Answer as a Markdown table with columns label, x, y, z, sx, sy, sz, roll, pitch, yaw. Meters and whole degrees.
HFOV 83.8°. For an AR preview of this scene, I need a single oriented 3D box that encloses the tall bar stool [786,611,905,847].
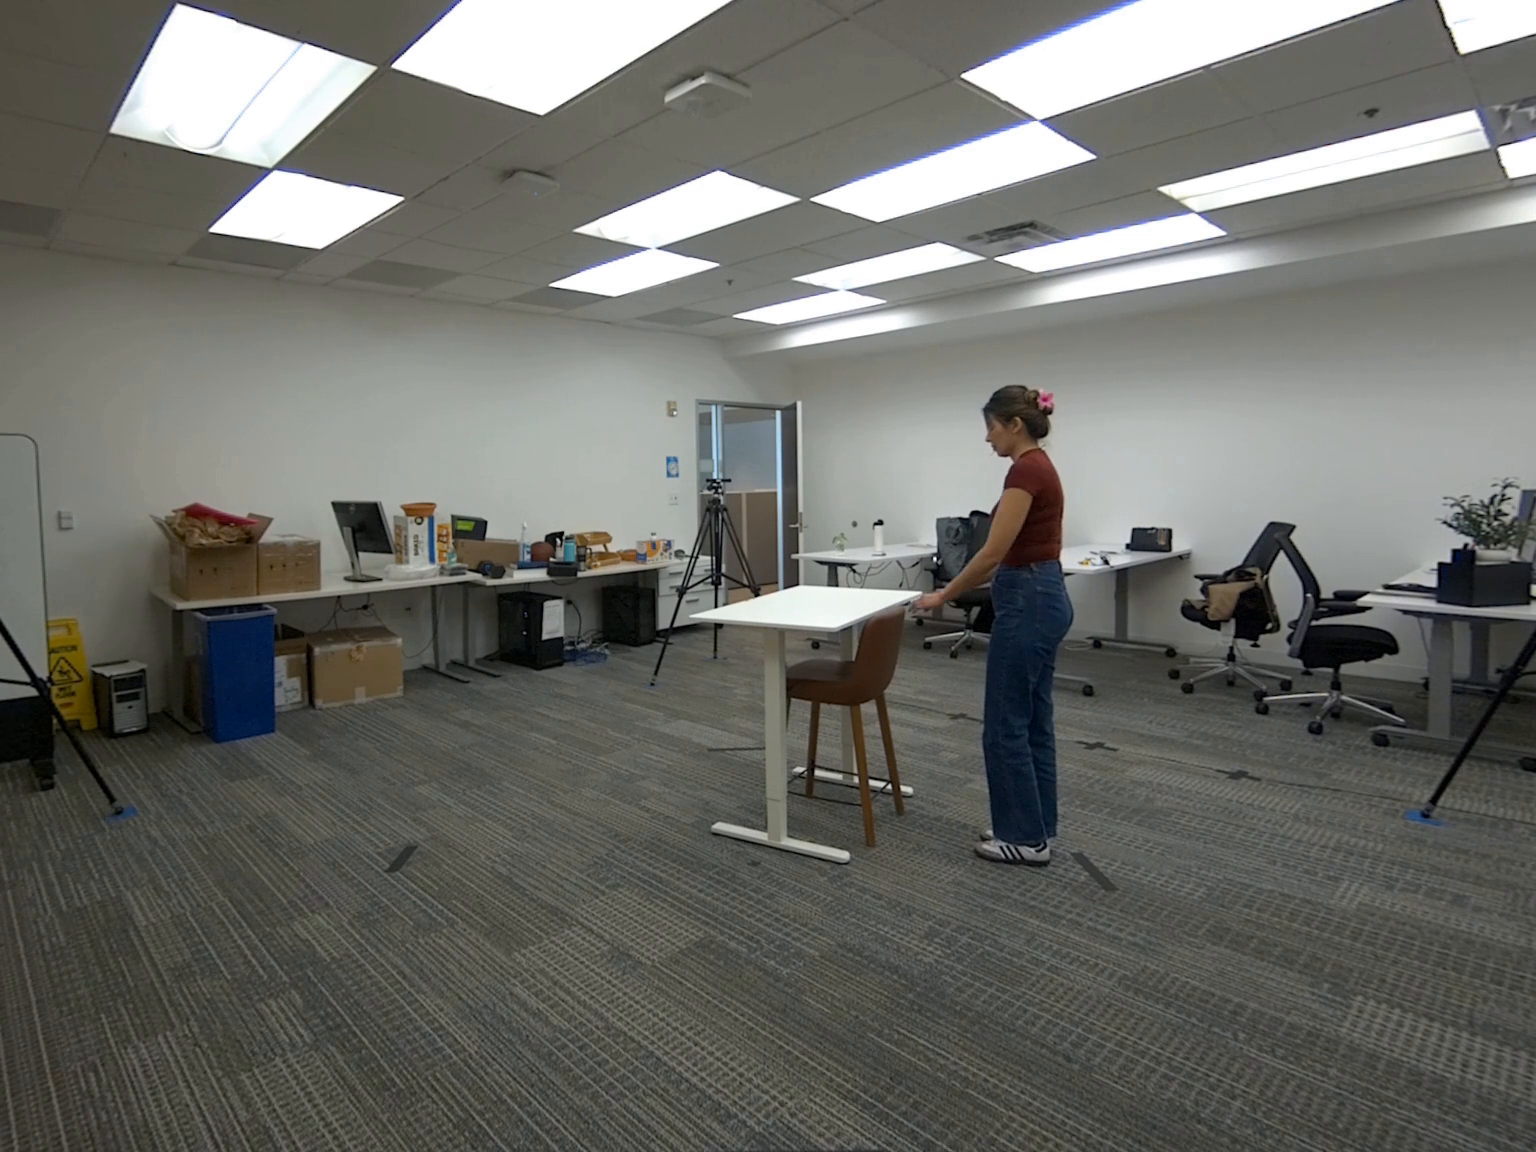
| label | x | y | z | sx | sy | sz | roll | pitch | yaw |
| --- | --- | --- | --- | --- | --- | --- | --- | --- | --- |
| tall bar stool | 0.289 | 0.568 | 3.474 | 0.480 | 0.886 | 0.447 | 5 | 6 | 28 |
